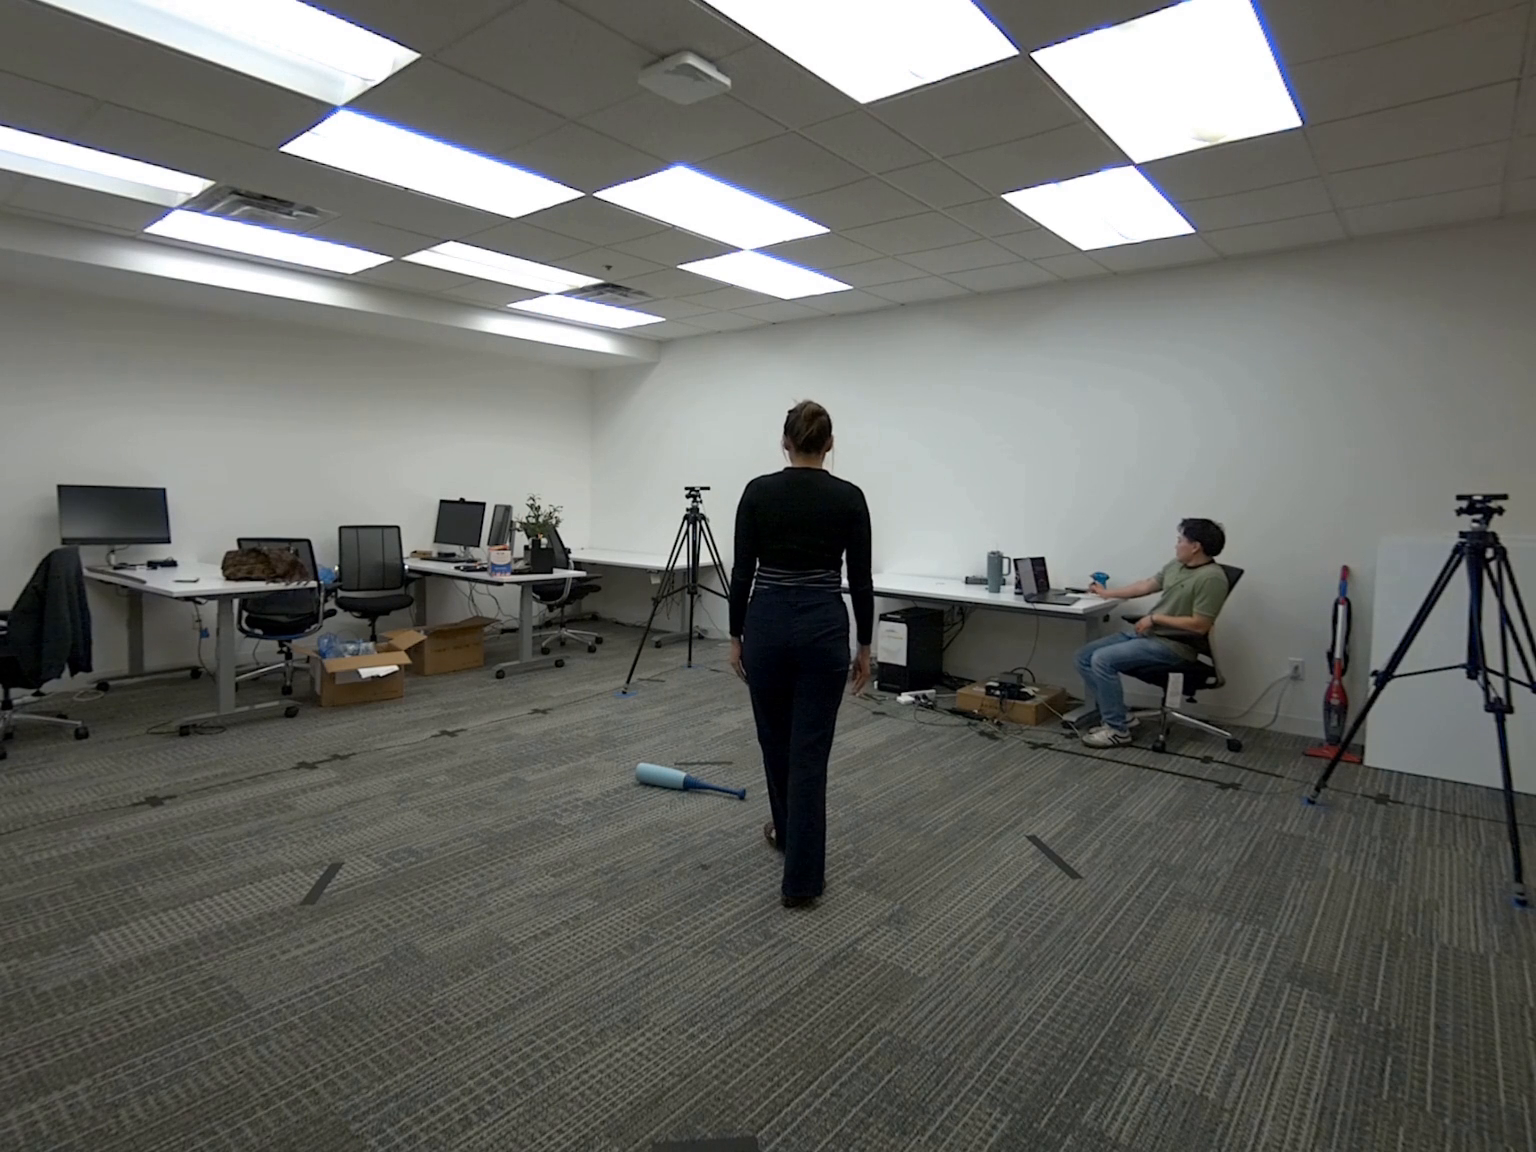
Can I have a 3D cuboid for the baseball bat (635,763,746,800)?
[{"bbox_3d":[-0.367,0.946,3.908,0.556,0.089,0.087,6,5,21],"label":"baseball bat"}]
